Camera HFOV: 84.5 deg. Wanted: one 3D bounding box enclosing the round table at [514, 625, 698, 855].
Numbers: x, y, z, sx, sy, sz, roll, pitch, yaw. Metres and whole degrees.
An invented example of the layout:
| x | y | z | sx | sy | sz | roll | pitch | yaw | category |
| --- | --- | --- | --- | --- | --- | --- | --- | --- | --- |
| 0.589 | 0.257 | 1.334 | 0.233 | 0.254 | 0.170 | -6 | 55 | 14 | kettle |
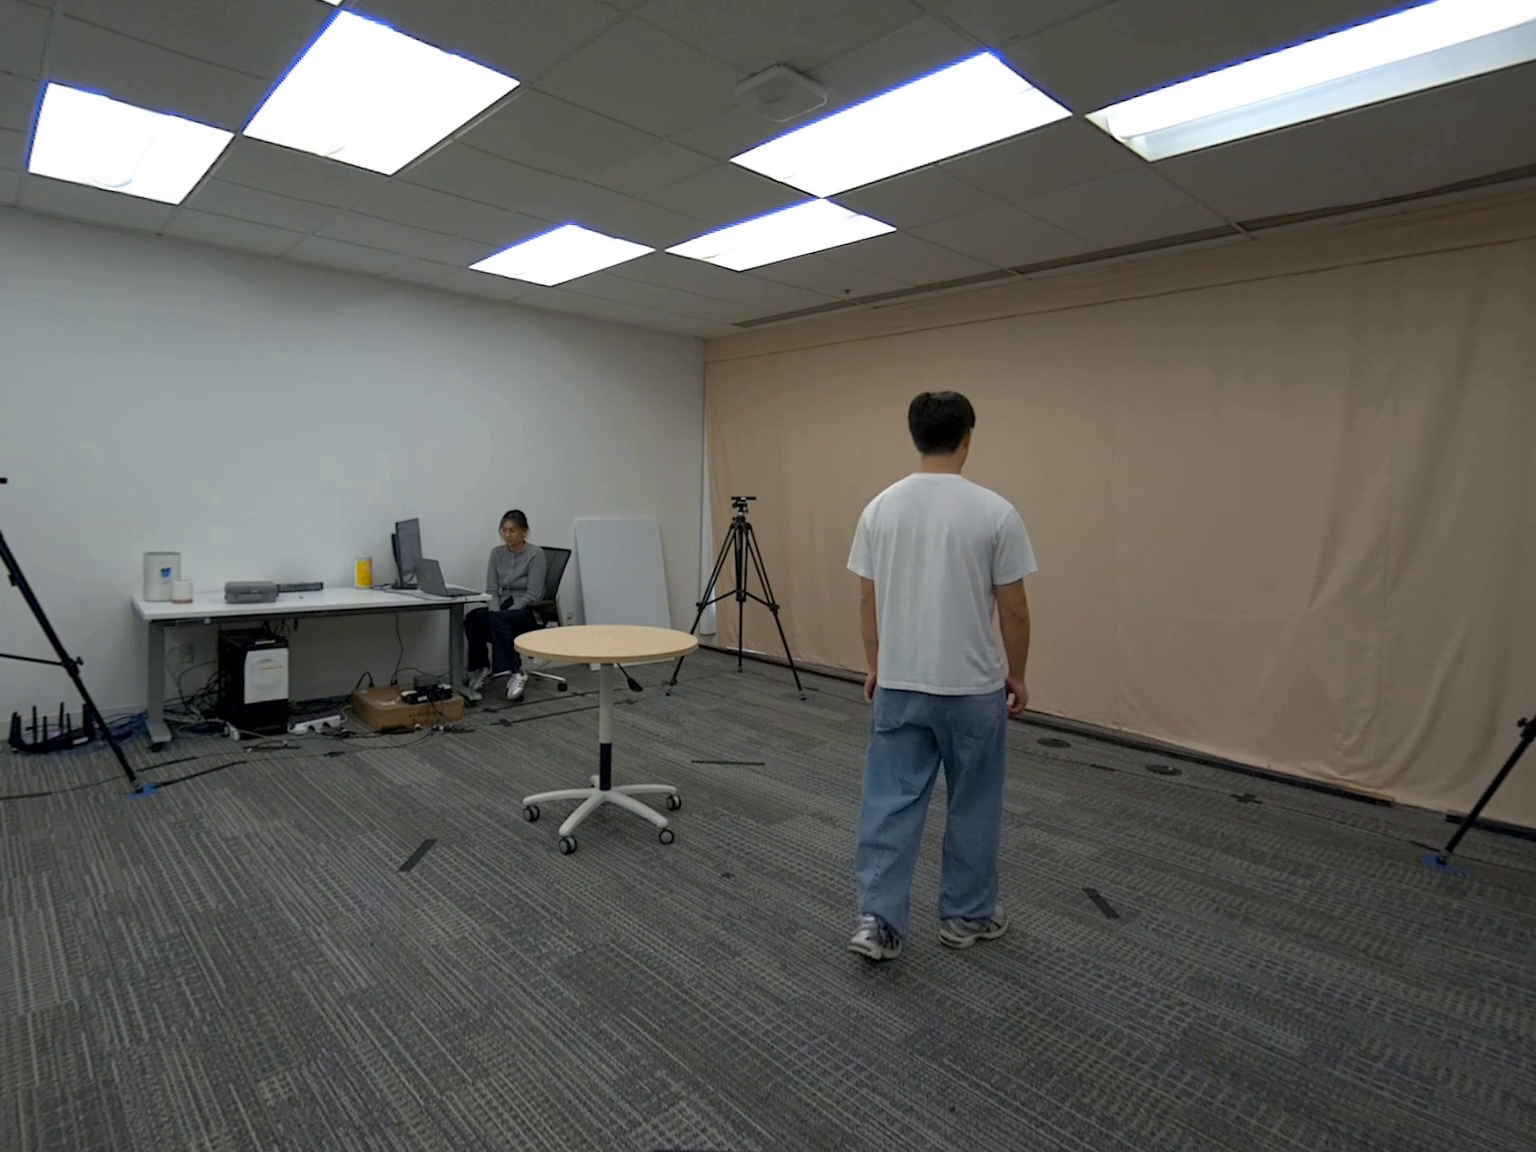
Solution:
| x | y | z | sx | sy | sz | roll | pitch | yaw | category |
| --- | --- | --- | --- | --- | --- | --- | --- | --- | --- |
| -0.695 | 0.663 | 3.568 | 0.763 | 0.792 | 0.766 | 1 | 4 | -1 | round table |
